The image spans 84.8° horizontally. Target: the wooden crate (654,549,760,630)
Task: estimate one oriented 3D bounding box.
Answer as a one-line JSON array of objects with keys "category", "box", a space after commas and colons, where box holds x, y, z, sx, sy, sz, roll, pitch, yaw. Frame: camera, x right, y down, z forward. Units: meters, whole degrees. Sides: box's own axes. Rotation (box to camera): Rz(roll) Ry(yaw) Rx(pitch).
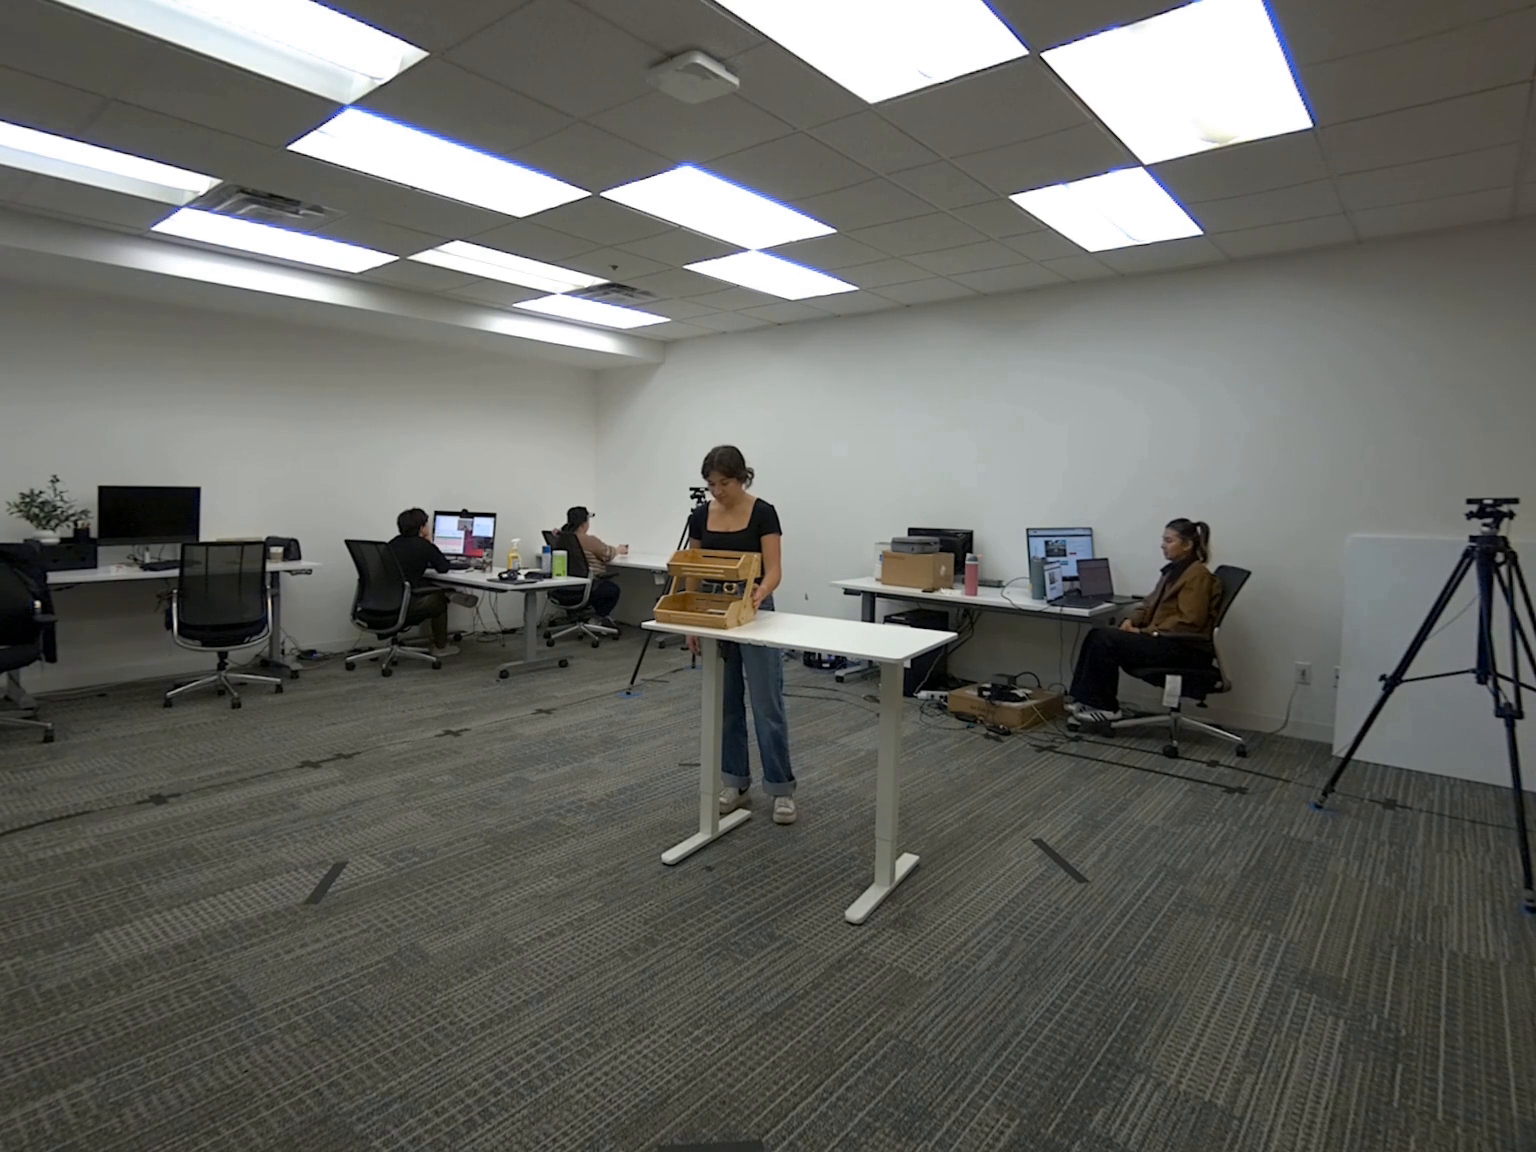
[{"category": "wooden crate", "box": [-0.236, 0.034, 3.235, 0.333, 0.272, 0.295, 4, 4, 24]}]
